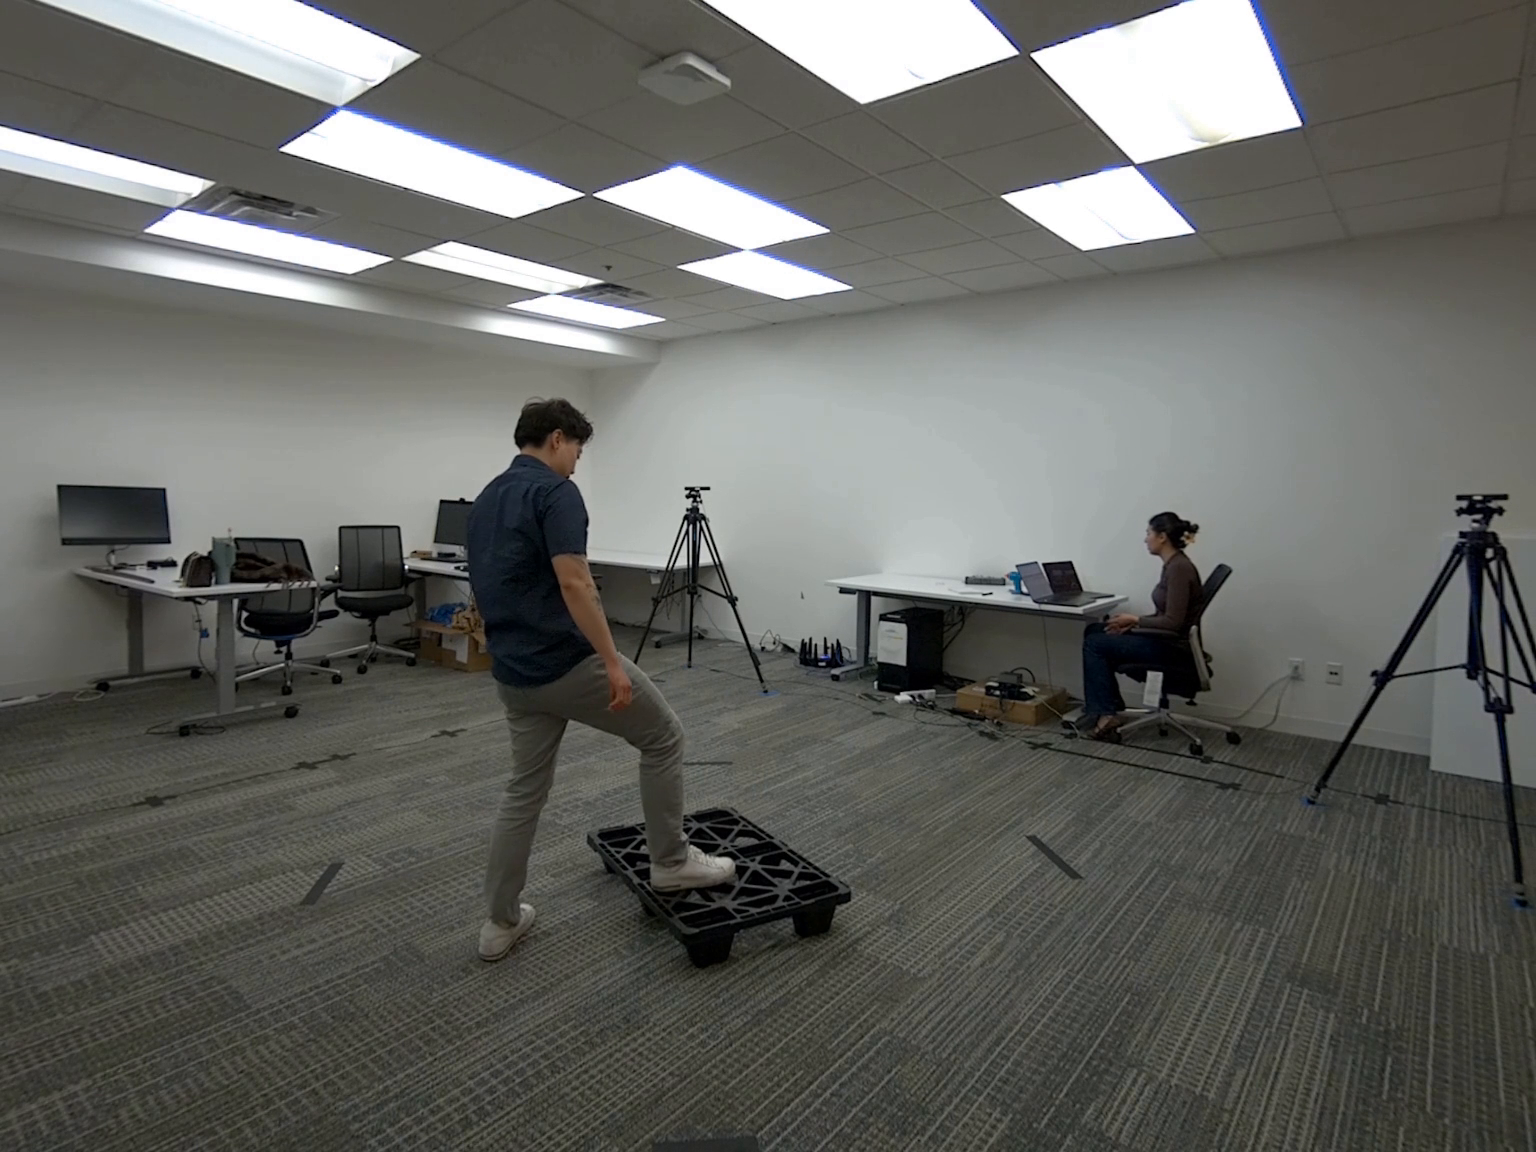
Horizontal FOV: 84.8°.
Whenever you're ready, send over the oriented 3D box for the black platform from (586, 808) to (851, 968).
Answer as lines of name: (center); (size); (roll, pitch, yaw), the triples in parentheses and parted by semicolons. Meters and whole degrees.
black platform: (-0.206, 1.022, 2.874); (0.589, 0.143, 0.831); (-3, 7, -31)
